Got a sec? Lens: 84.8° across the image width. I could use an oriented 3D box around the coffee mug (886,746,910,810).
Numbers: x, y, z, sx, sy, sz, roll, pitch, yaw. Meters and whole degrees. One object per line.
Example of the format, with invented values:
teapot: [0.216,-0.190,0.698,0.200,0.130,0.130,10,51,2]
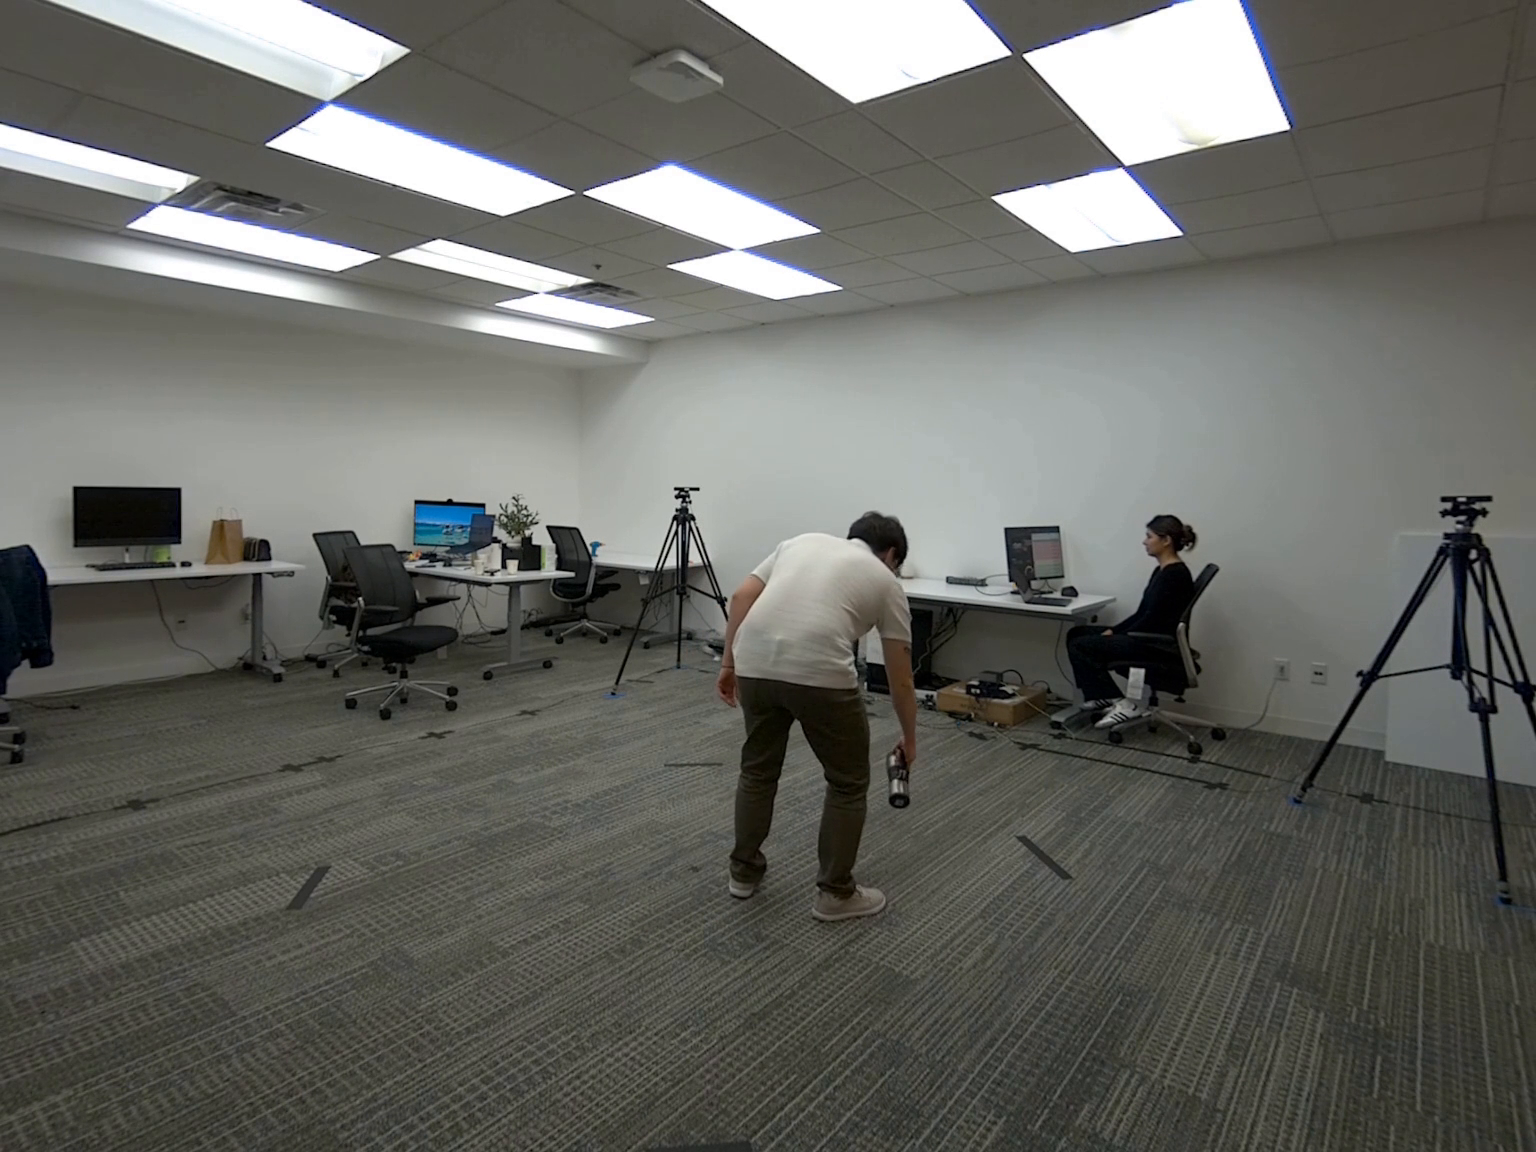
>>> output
coffee mug: [0.446,0.709,2.990,0.089,0.118,0.205,1,32,15]
